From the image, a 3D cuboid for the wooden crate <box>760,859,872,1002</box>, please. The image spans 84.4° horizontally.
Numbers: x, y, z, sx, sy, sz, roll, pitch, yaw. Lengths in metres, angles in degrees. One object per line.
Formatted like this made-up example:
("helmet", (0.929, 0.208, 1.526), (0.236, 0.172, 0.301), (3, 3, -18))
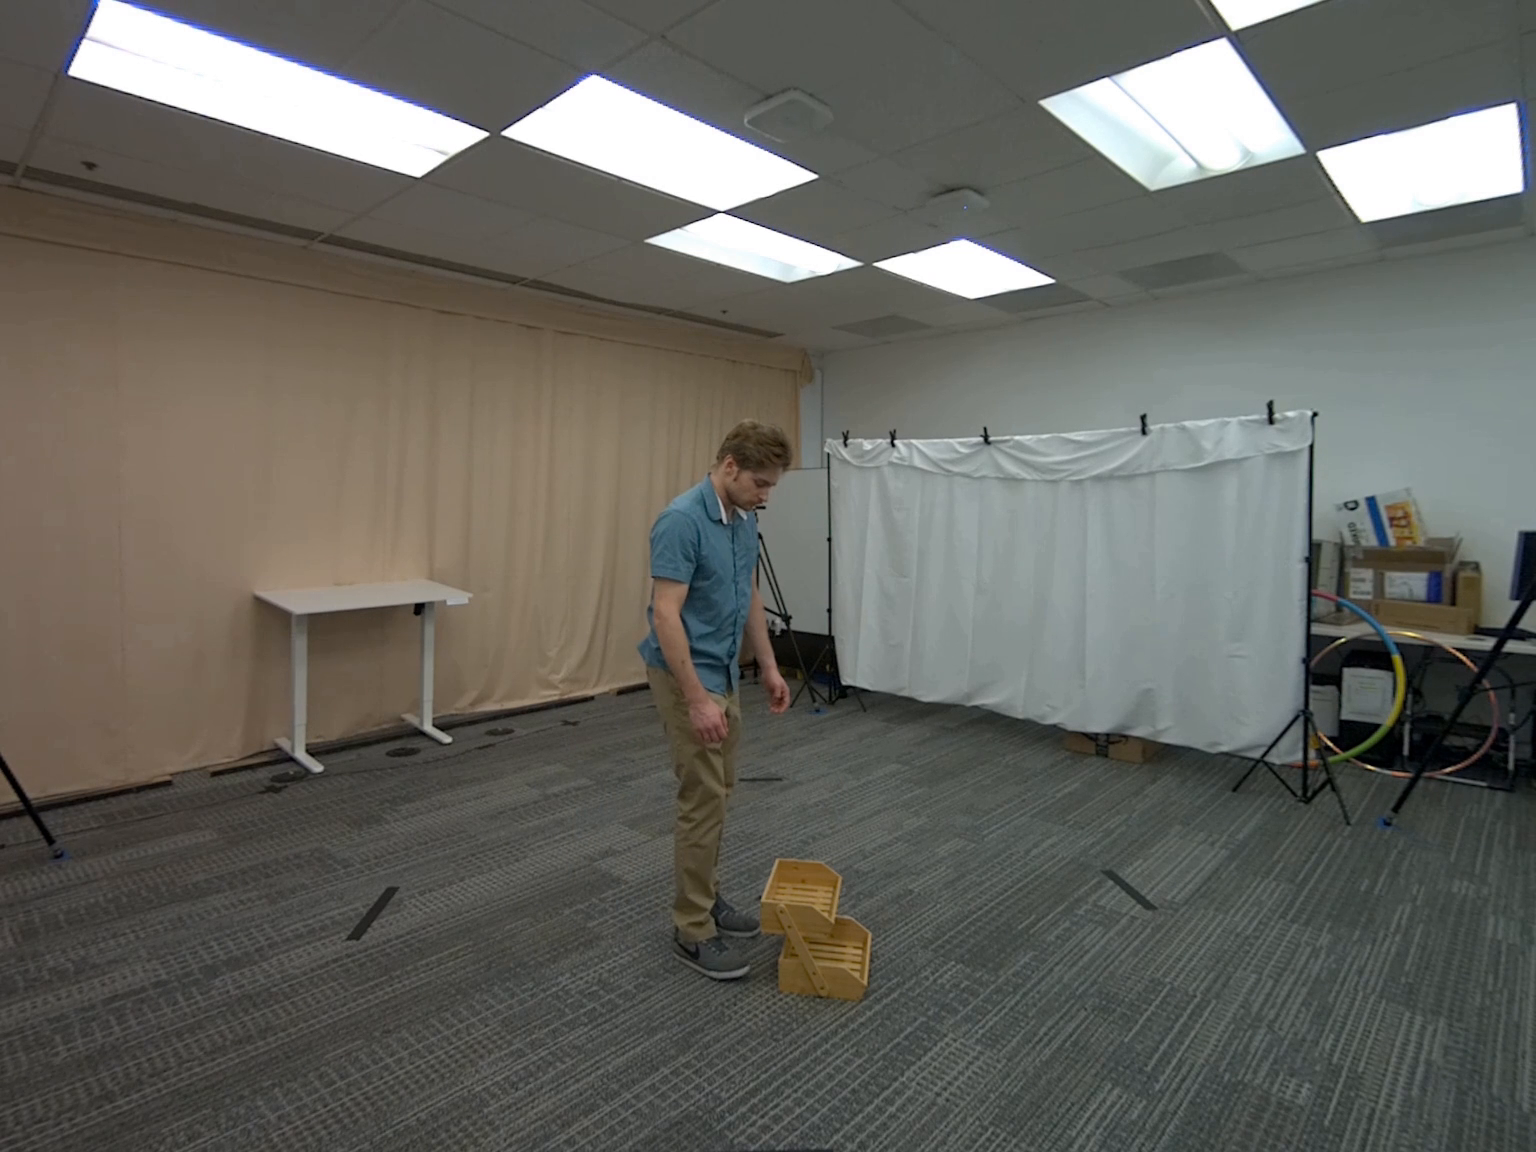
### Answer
("wooden crate", (0.161, 1.050, 2.527), (0.306, 0.273, 0.321), (0, 3, 11))
